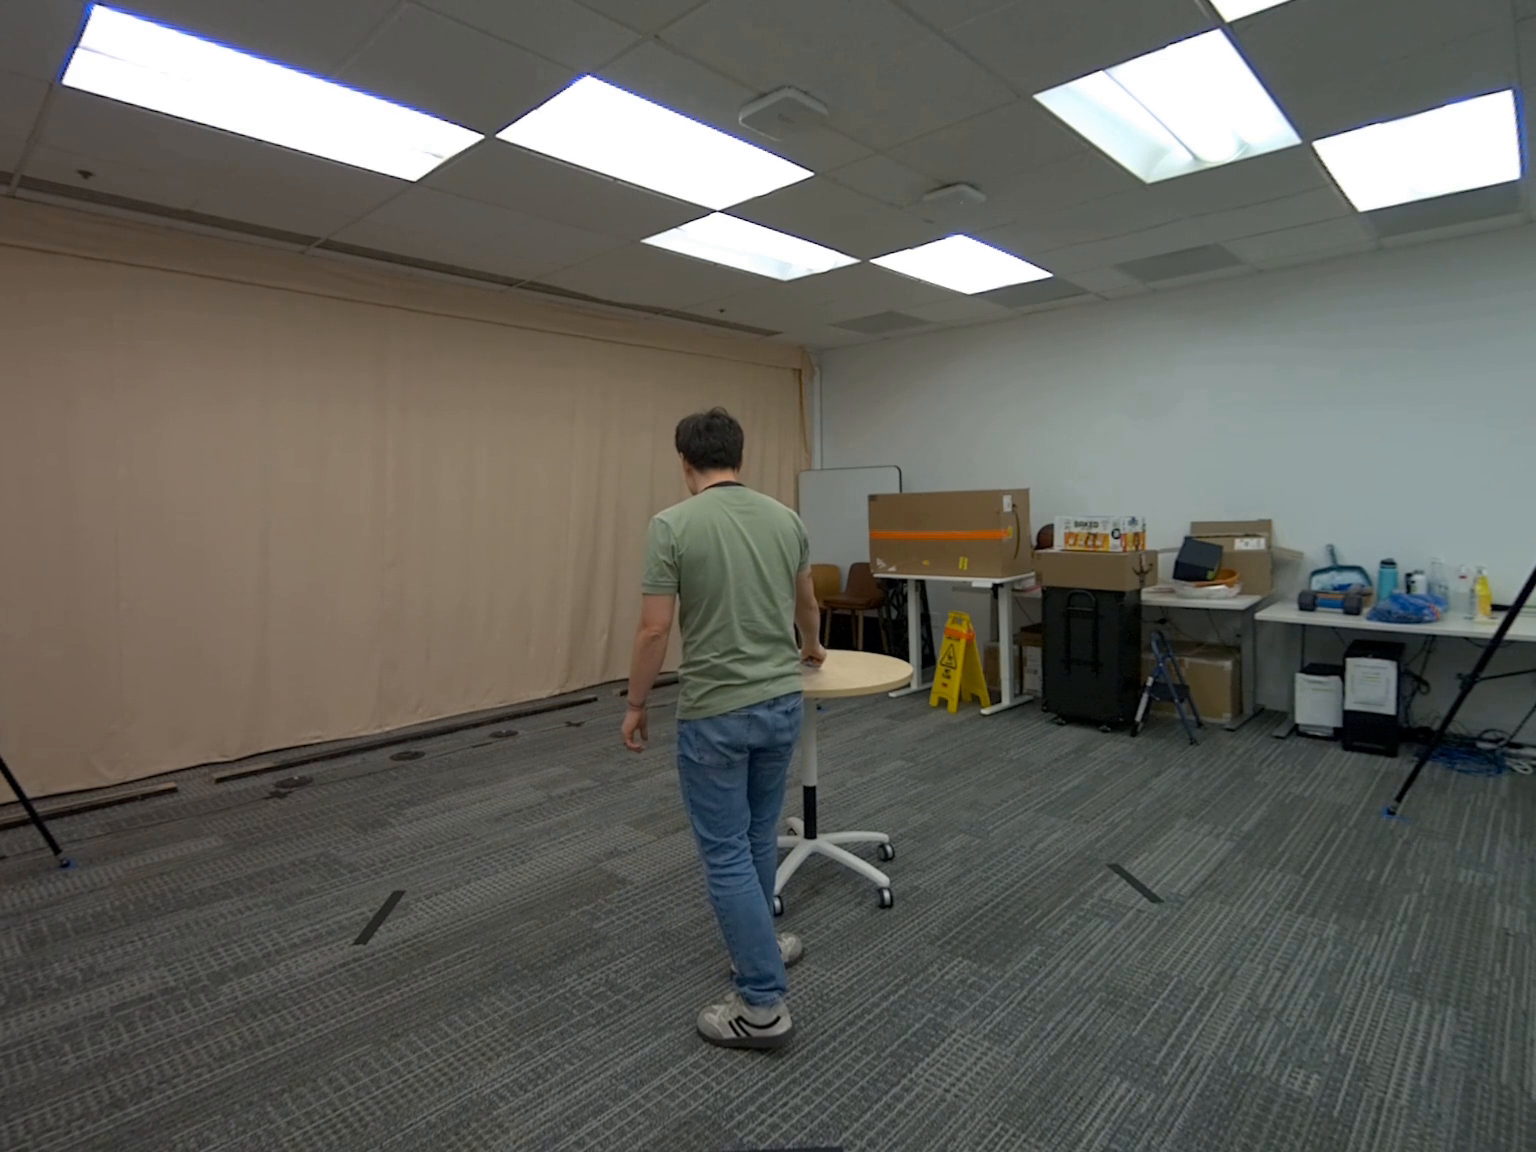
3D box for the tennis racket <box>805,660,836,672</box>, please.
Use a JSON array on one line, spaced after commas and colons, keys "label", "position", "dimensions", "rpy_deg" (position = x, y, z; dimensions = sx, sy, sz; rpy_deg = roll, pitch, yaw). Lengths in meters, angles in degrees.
[{"label": "tennis racket", "position": [0.104, 0.300, 2.984], "dimensions": [0.214, 0.032, 0.431], "rpy_deg": [9, -6, -1]}]
